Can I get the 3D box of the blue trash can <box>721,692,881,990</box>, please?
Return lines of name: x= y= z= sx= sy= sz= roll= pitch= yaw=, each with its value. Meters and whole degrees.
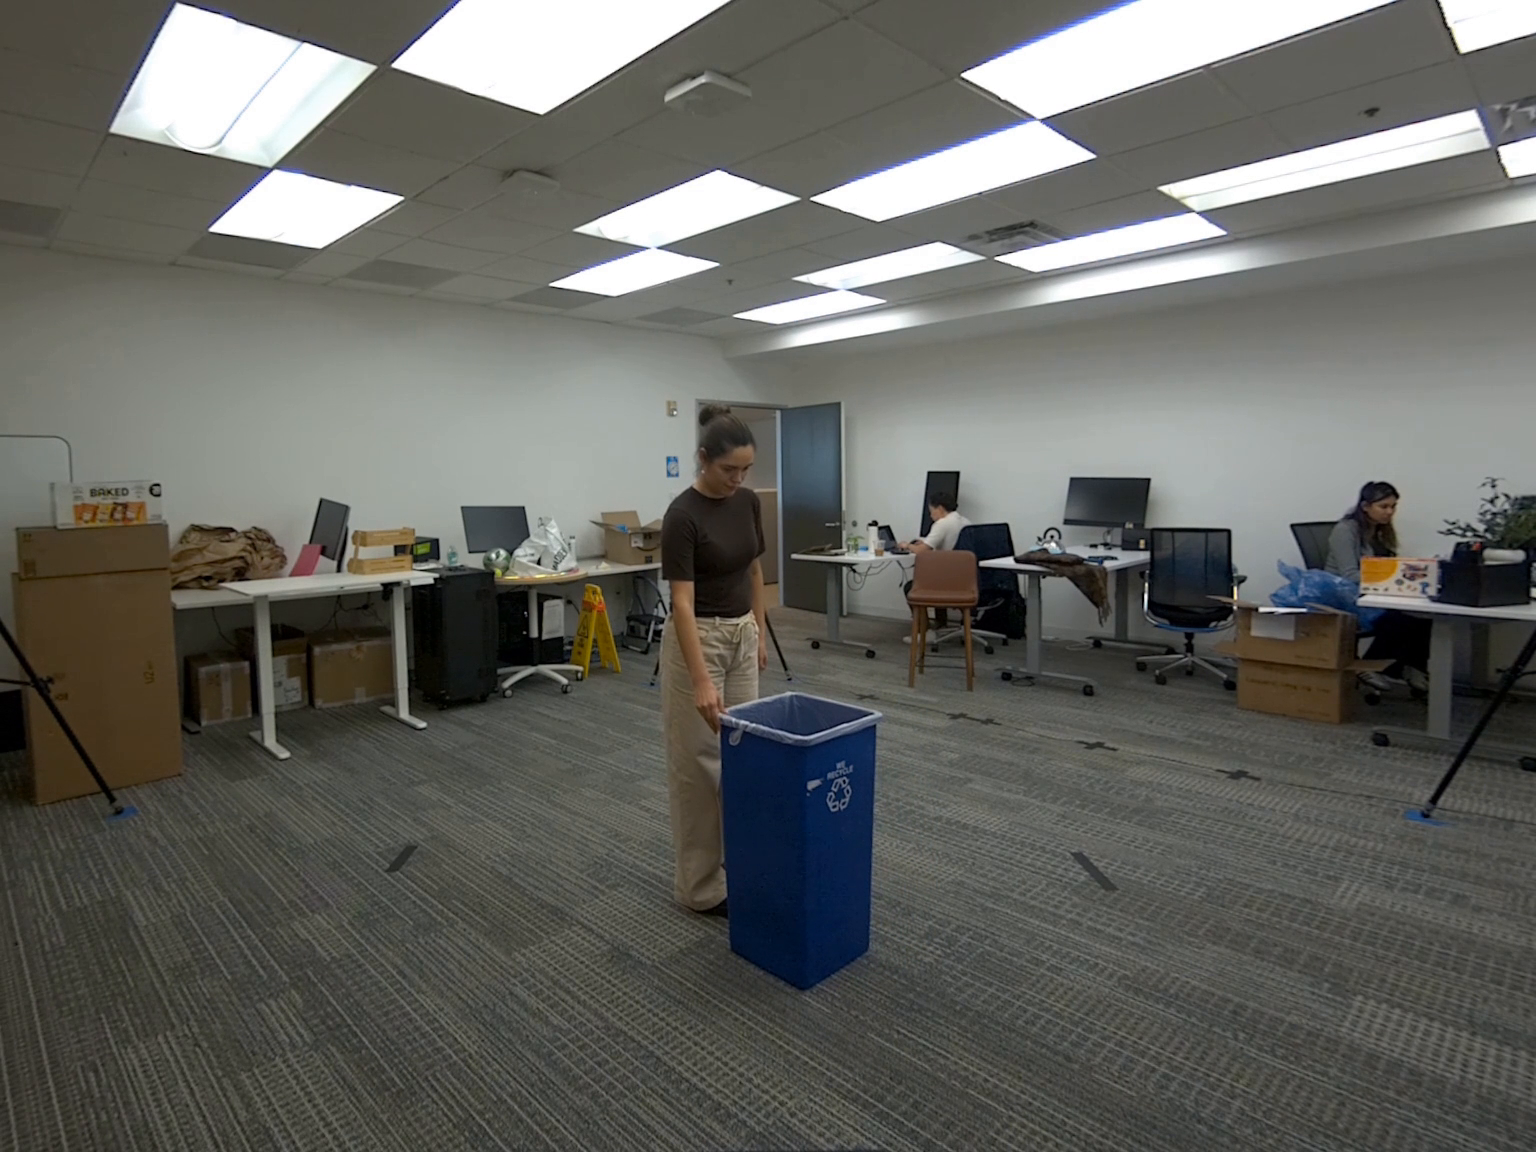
blue trash can: x=0.102 y=0.754 z=2.505 sx=0.385 sy=0.711 sz=0.368 roll=3 pitch=6 yaw=44
